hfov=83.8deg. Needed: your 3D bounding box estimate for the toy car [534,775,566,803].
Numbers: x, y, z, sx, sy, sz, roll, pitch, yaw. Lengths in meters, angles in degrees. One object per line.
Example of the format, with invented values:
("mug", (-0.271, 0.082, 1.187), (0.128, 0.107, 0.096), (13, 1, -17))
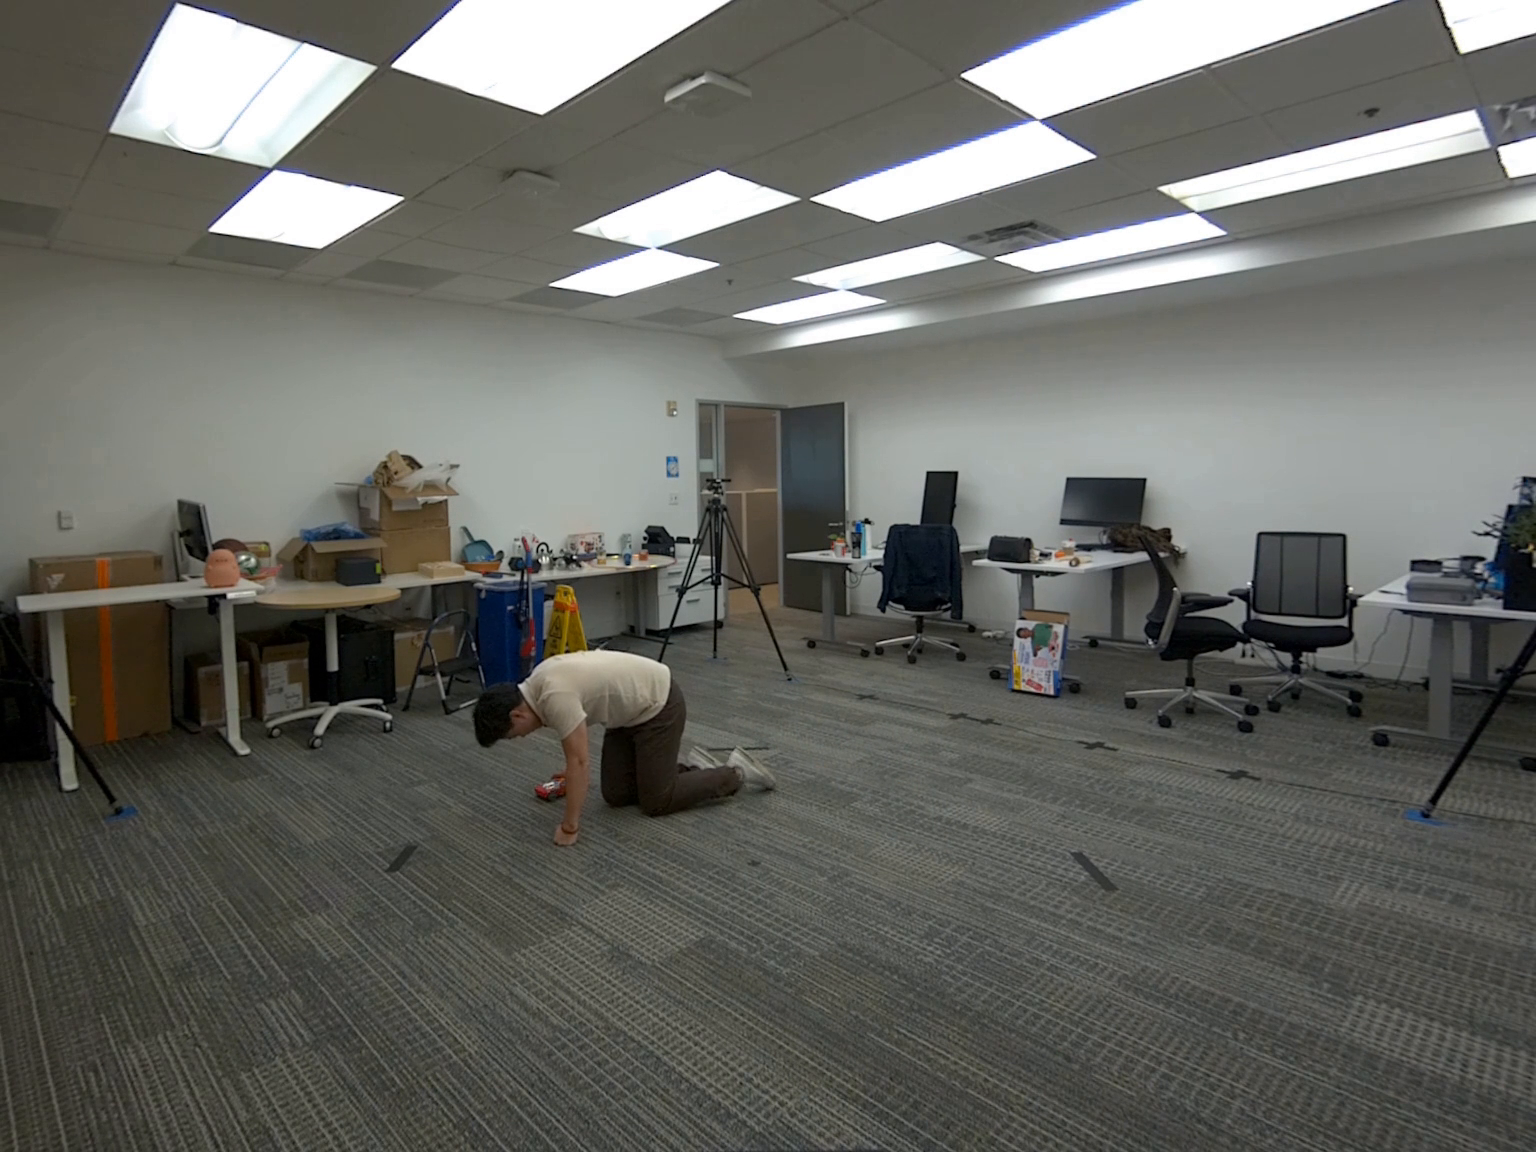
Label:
("toy car", (-0.922, 0.946, 3.859), (0.134, 0.082, 0.249), (1, 15, 45))
